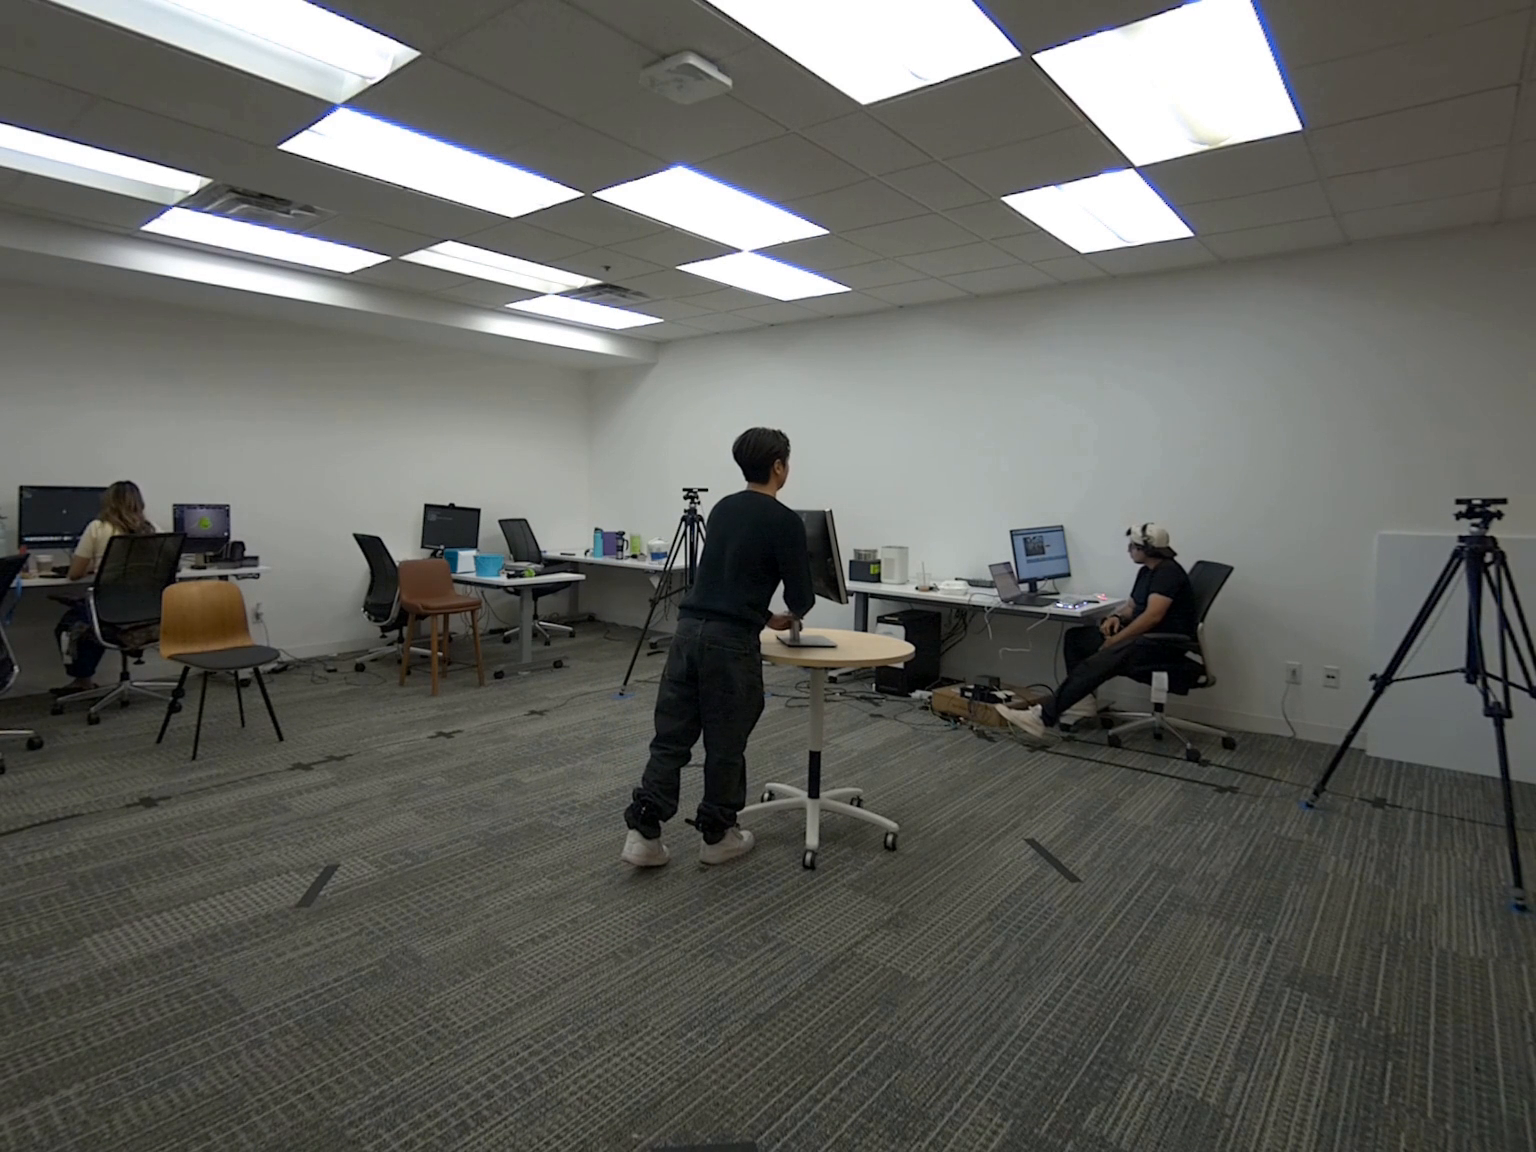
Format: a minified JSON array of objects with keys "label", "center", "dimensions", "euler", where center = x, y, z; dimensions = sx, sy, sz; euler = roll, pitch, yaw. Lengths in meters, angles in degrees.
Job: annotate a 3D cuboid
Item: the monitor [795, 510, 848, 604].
[{"label":"monitor","center":[0.160,0.002,3.436],"dimensions":[0.172,0.516,0.537],"euler":[5,1,-13]}]
